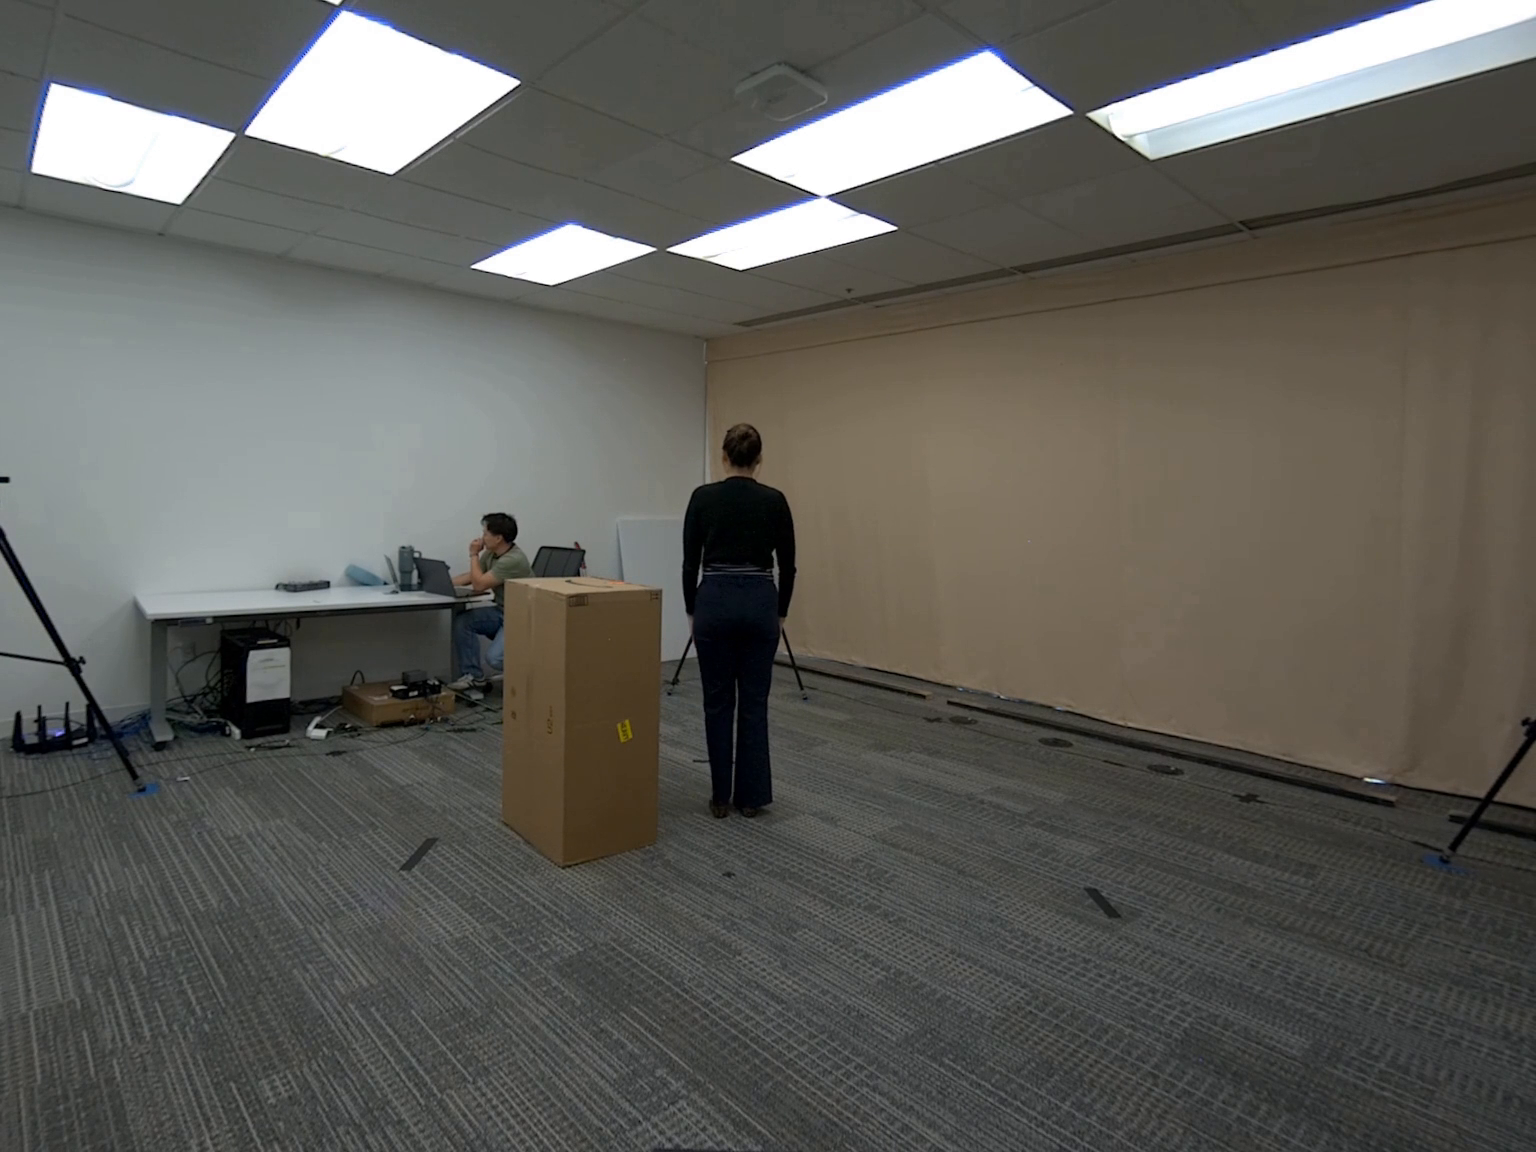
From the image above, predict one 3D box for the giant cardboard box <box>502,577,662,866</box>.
[{"bbox_3d":[-0.779,0.546,3.449,0.416,1.023,0.592,-1,4,-39],"label":"giant cardboard box"}]
